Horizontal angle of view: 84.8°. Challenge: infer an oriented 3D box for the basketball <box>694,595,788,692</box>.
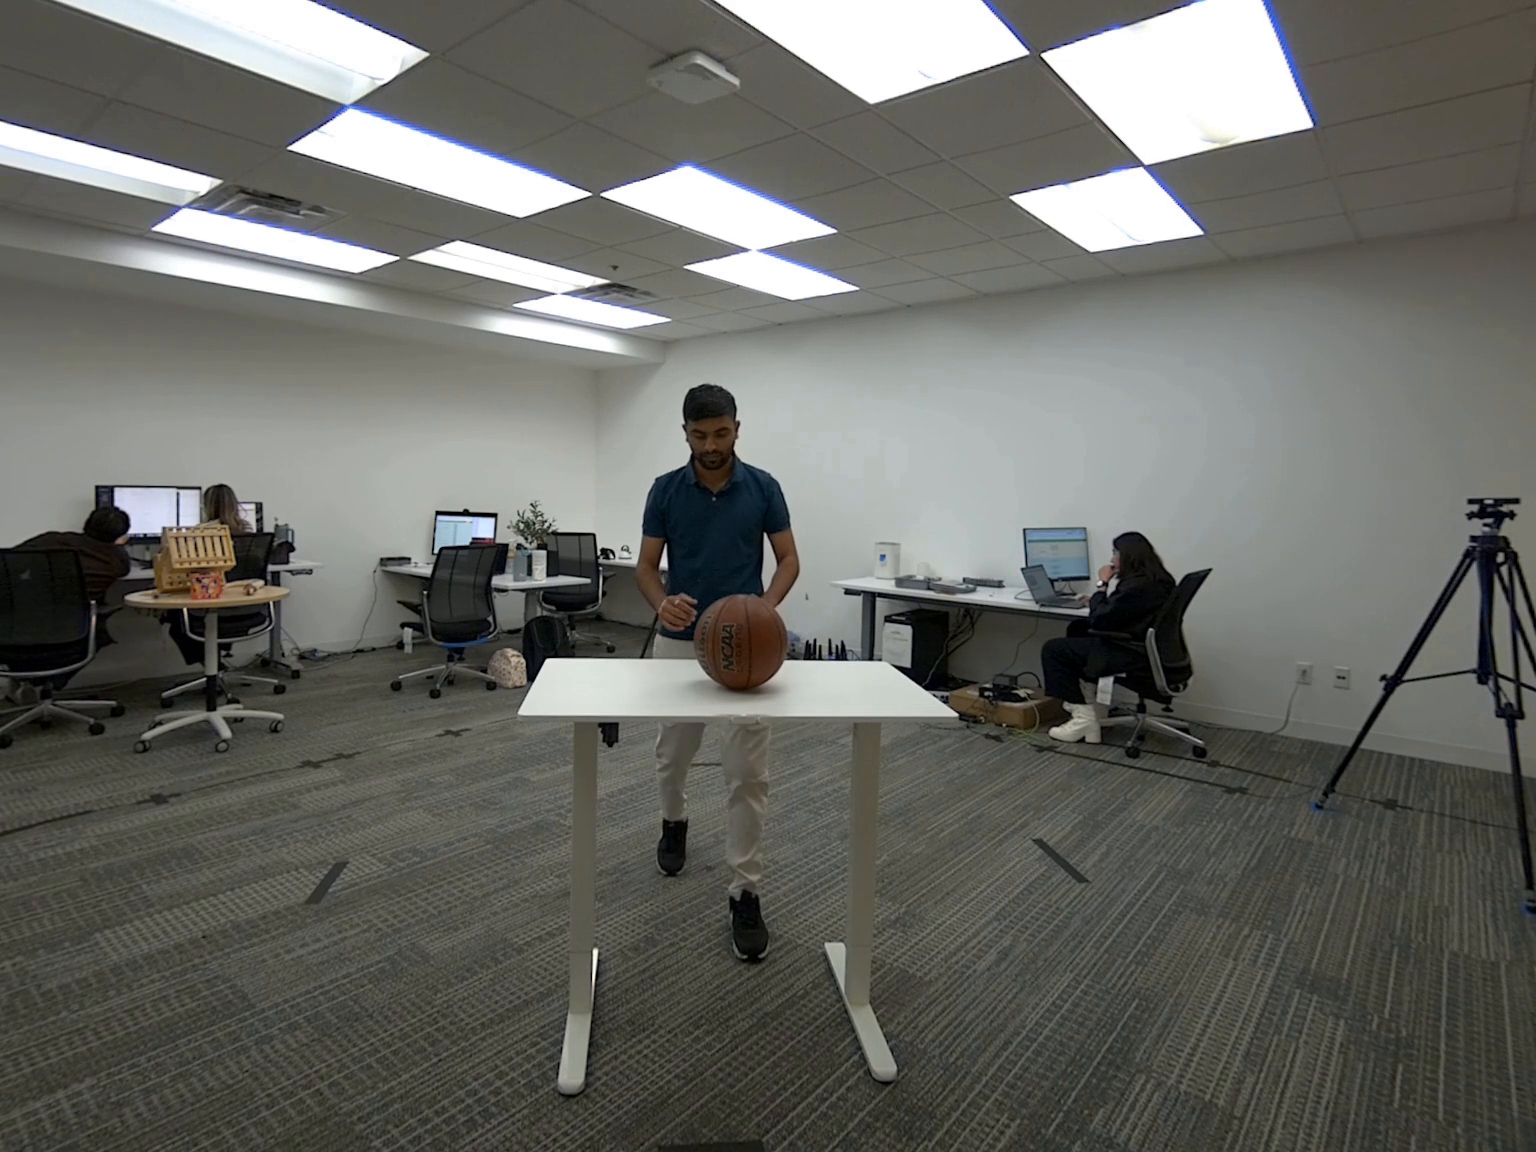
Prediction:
[{"bbox_3d":[-0.072,0.162,2.165,0.235,0.235,0.237,1,4,-2],"label":"basketball"}]
